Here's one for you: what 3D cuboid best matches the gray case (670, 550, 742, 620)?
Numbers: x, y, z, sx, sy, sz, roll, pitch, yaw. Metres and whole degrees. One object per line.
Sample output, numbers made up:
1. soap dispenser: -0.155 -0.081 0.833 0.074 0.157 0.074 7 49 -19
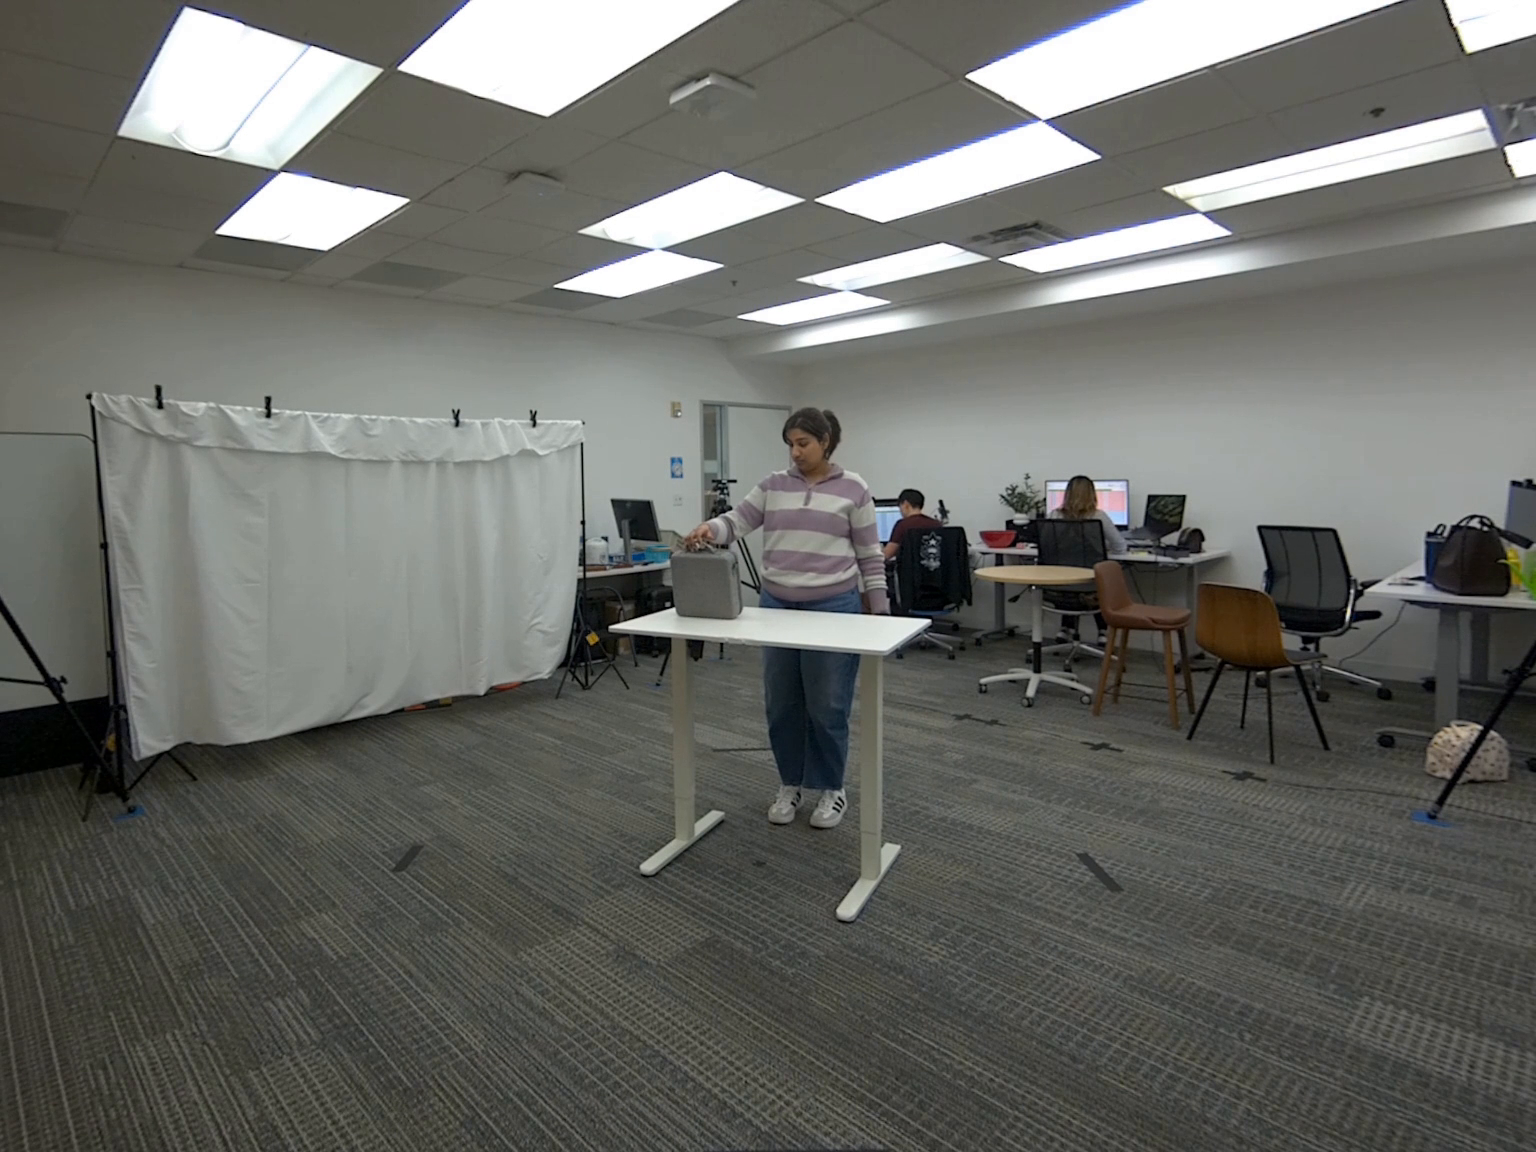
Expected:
1. gray case: -0.222 0.026 3.182 0.263 0.257 0.103 1 15 24
